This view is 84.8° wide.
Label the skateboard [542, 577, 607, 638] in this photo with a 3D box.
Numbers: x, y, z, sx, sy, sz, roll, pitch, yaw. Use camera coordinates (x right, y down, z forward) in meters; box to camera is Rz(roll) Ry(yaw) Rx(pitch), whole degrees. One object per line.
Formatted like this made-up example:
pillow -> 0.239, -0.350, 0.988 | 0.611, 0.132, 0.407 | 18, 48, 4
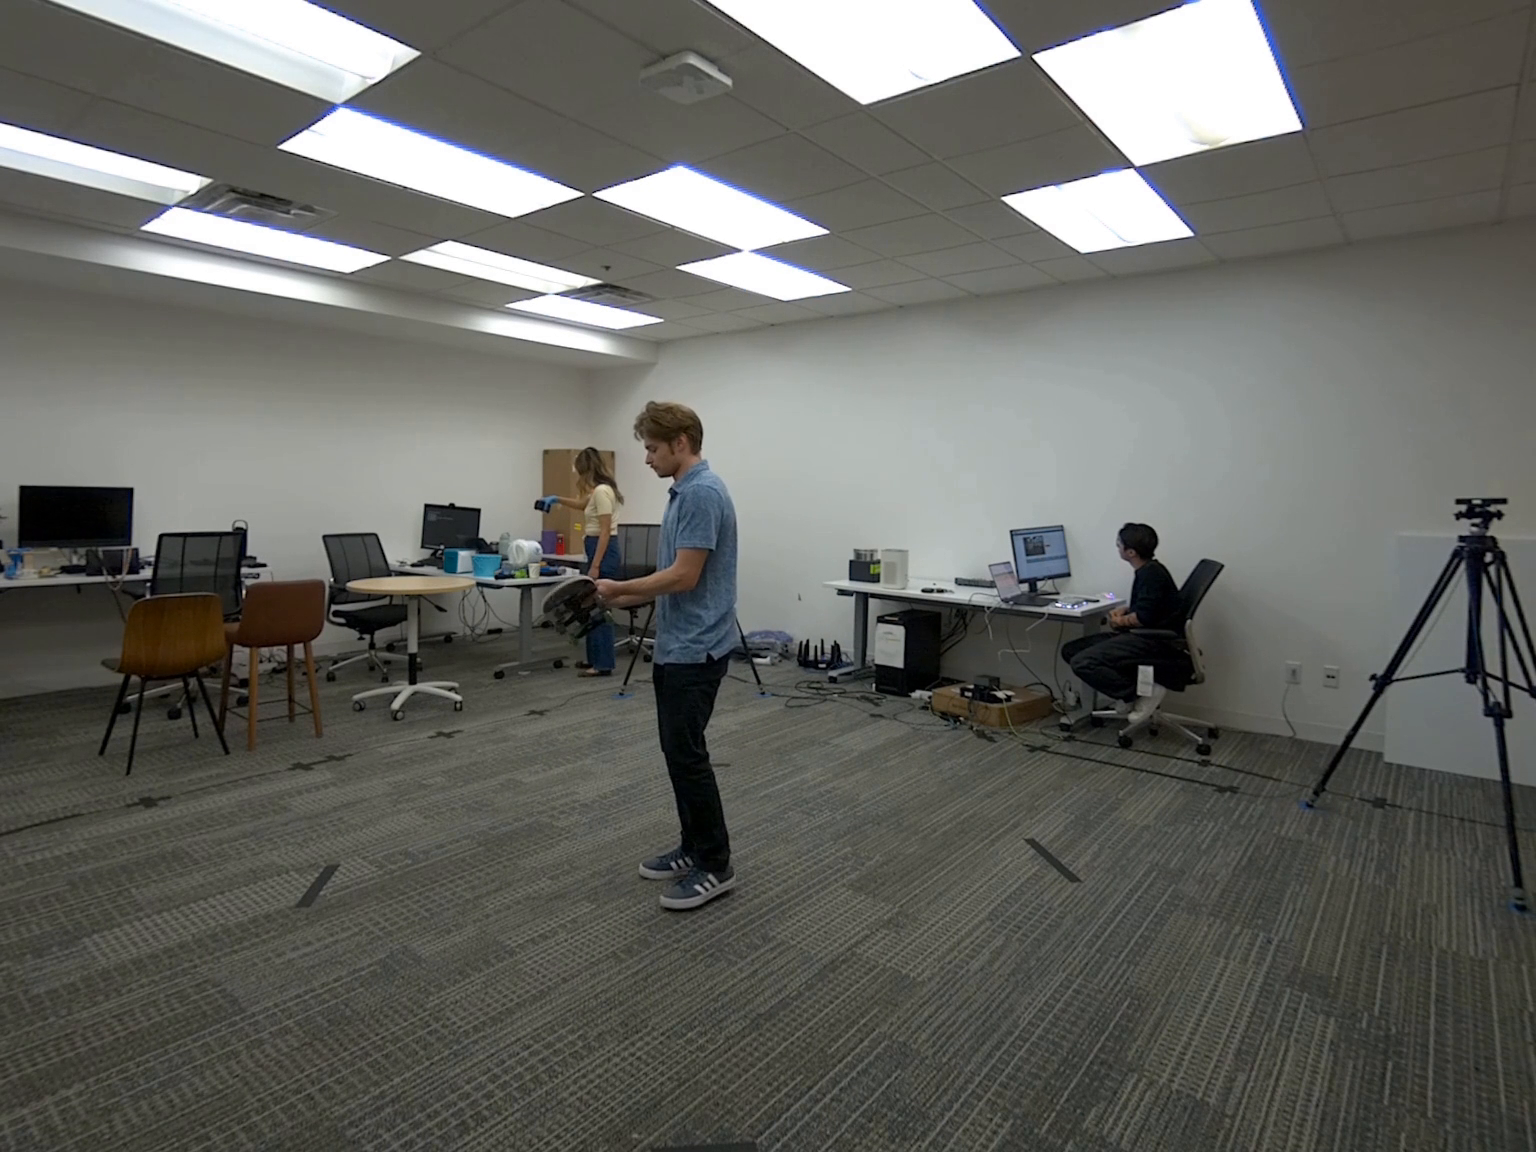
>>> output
skateboard -> -0.681, 0.140, 3.039 | 0.193, 0.111, 0.780 | -37, -4, -10
